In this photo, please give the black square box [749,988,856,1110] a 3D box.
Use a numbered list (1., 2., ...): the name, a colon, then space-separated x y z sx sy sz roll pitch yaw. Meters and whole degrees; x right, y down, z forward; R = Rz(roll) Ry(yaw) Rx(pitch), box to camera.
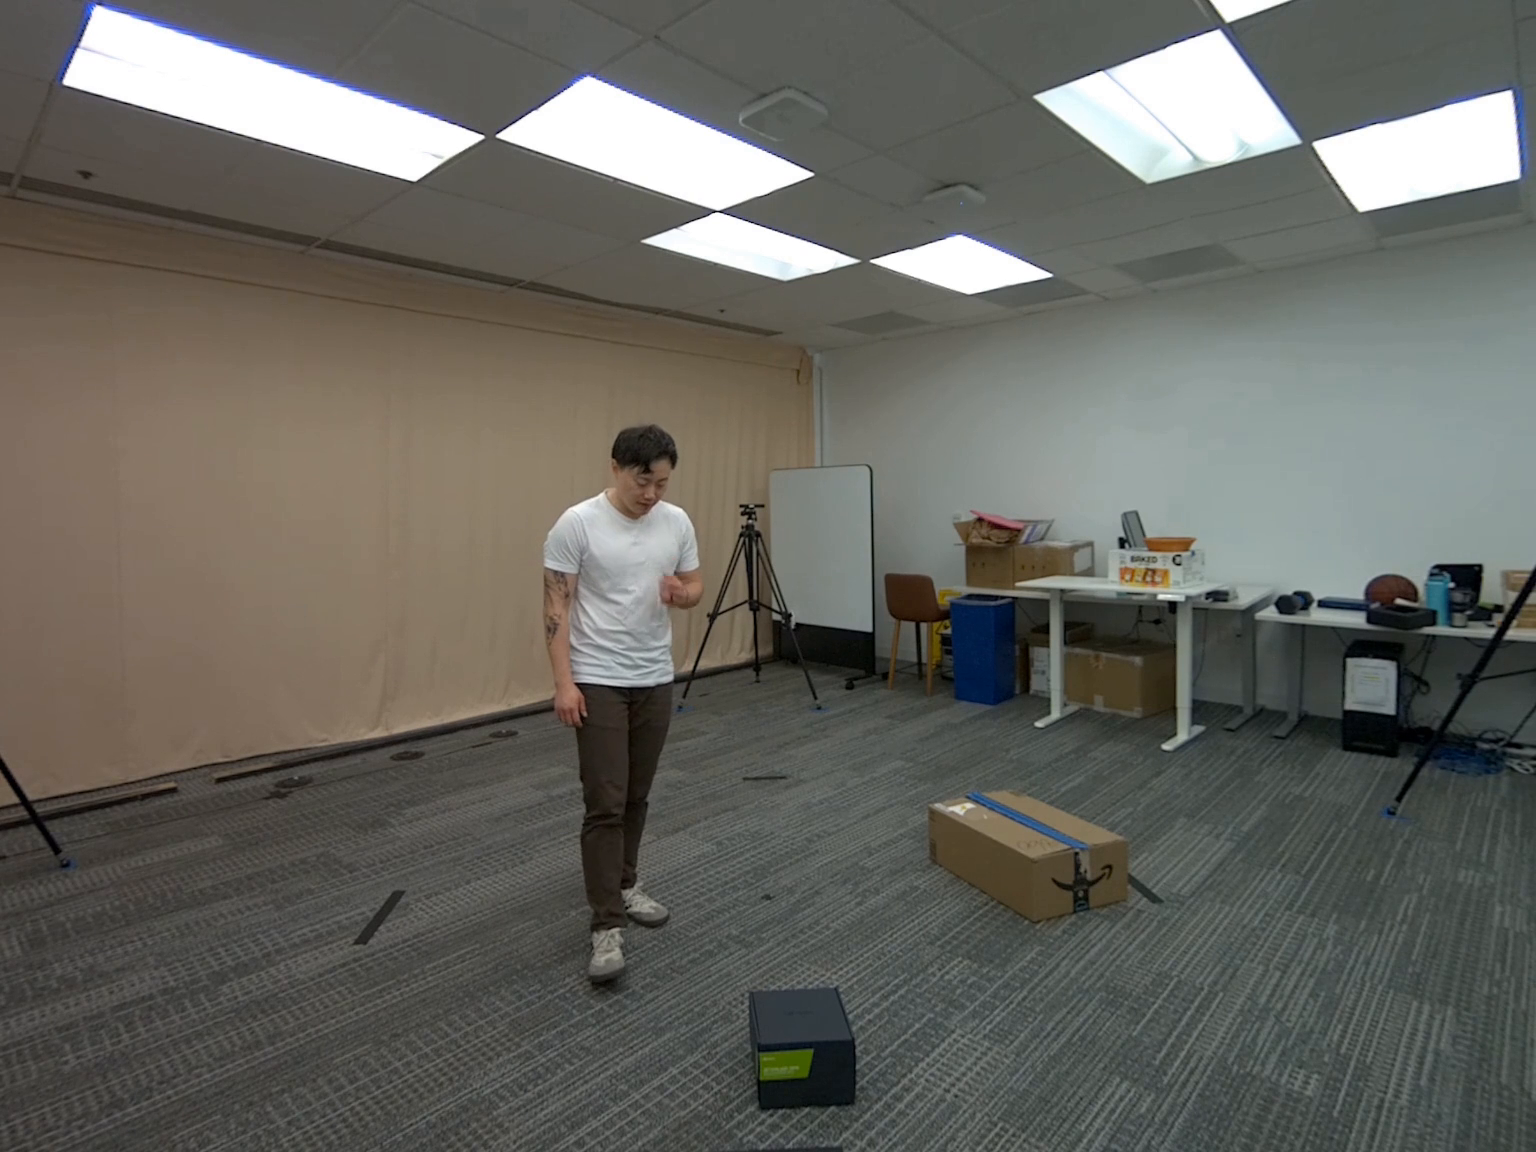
1. black square box: 0.083 1.135 2.040 0.227 0.155 0.218 -1 4 -5
